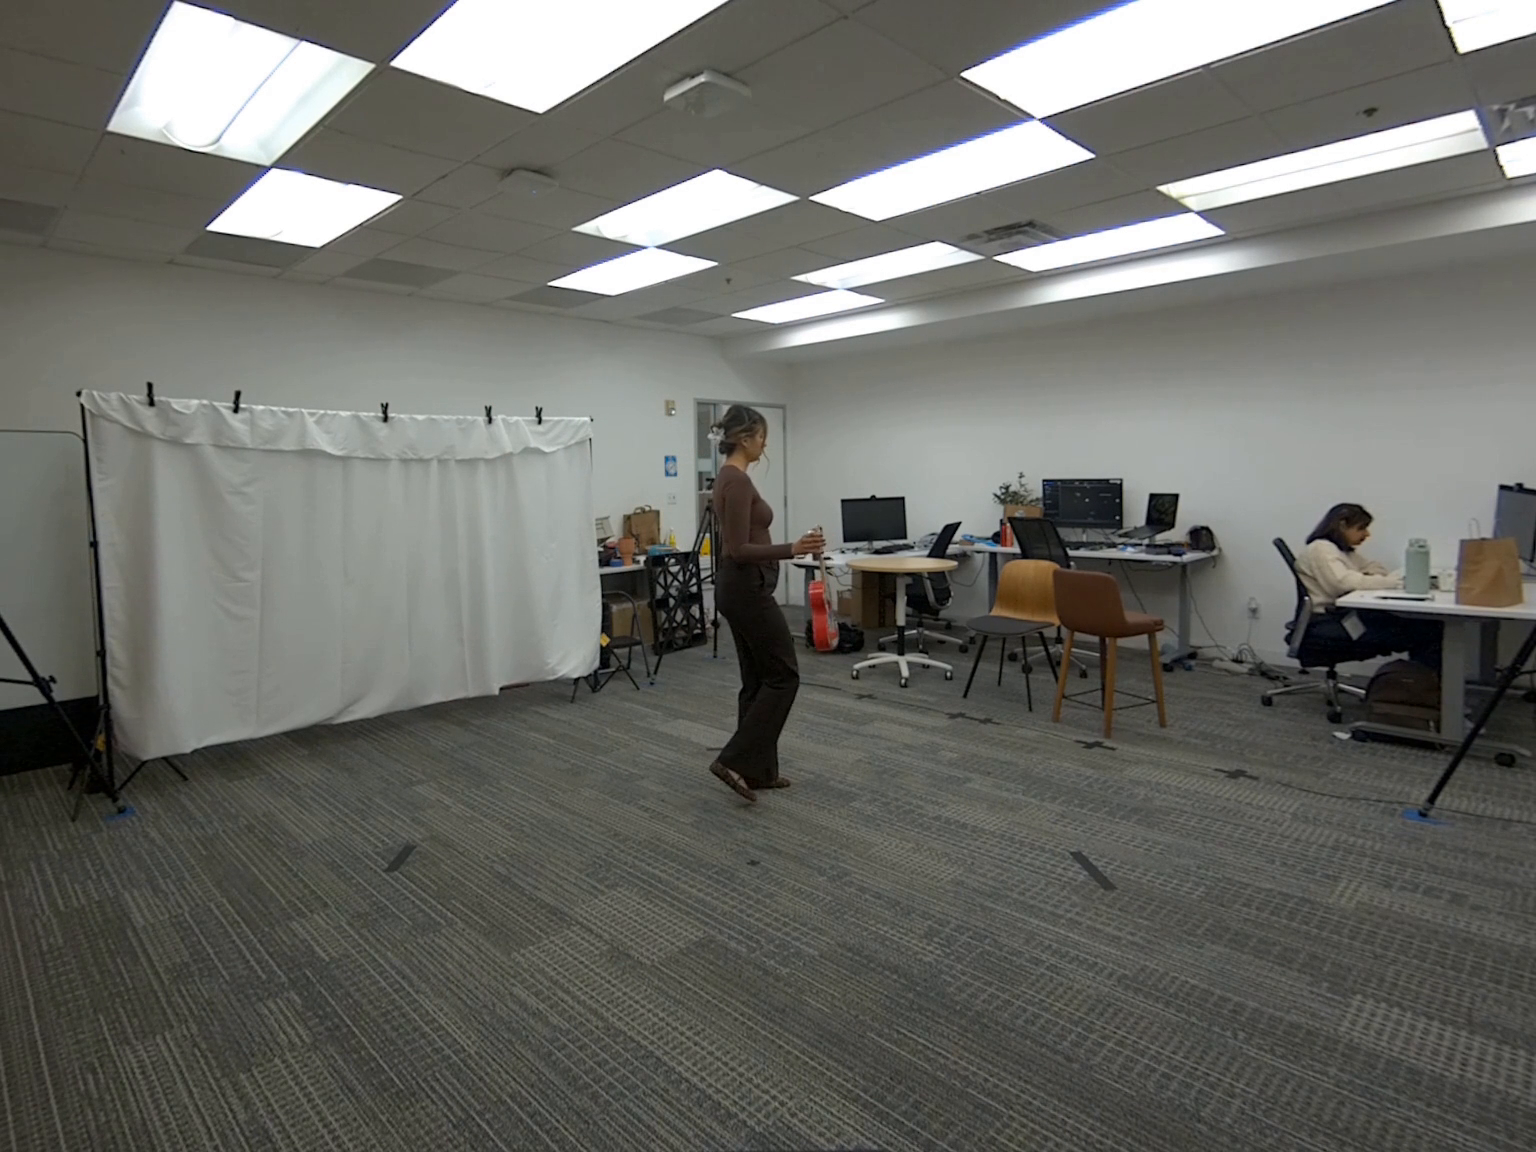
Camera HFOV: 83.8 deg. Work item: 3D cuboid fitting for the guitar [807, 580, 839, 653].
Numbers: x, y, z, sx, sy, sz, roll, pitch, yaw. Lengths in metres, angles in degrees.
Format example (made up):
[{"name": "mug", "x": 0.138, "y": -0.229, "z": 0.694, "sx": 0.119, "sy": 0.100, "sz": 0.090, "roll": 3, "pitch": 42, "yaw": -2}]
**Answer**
[{"name": "guitar", "x": 0.217, "y": 0.048, "z": 3.436, "sx": 0.072, "sy": 0.500, "sz": 0.189, "roll": -6, "pitch": -5, "yaw": 19}]
